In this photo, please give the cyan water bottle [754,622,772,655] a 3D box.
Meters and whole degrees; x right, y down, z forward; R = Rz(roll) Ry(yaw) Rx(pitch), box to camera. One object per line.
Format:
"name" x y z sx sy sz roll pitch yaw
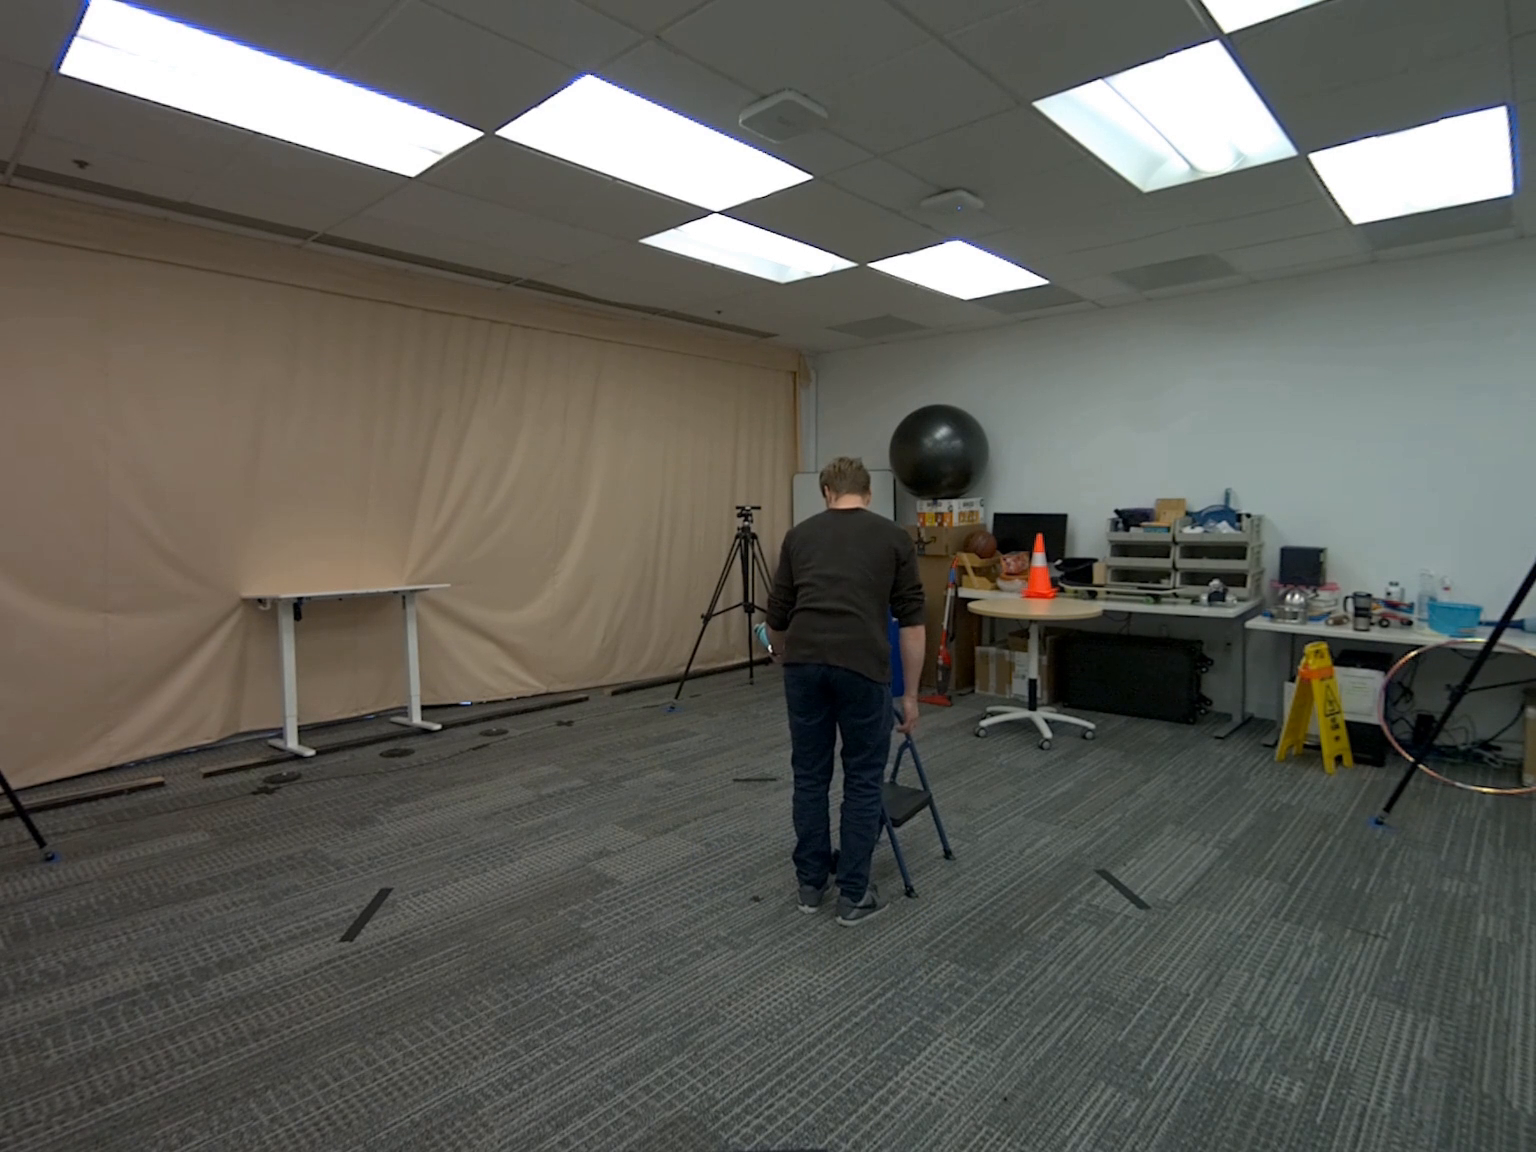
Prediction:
"cyan water bottle" 0.054 0.282 3.389 0.089 0.091 0.294 -3 30 -36
